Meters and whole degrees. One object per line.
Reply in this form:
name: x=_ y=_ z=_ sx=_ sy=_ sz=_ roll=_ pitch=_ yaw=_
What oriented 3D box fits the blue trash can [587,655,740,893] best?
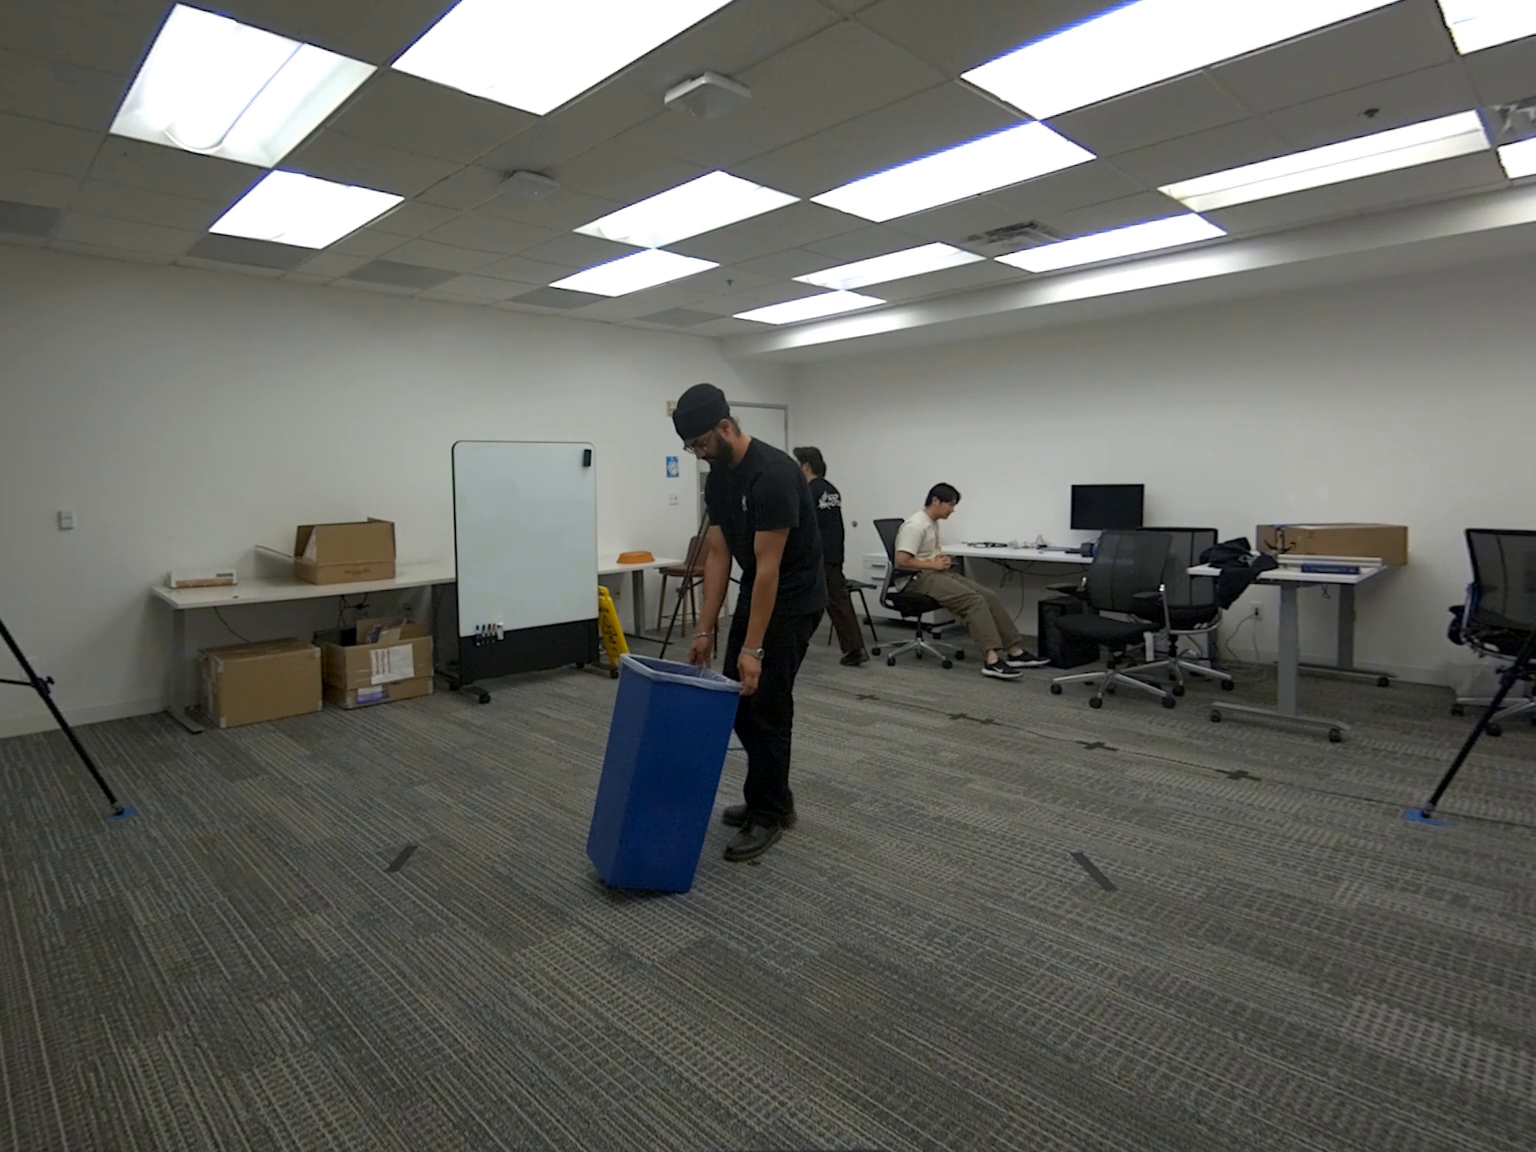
blue trash can: x=-0.374 y=0.679 z=2.997 sx=0.364 sy=0.715 sz=0.388 roll=14 pitch=-3 yaw=-28
